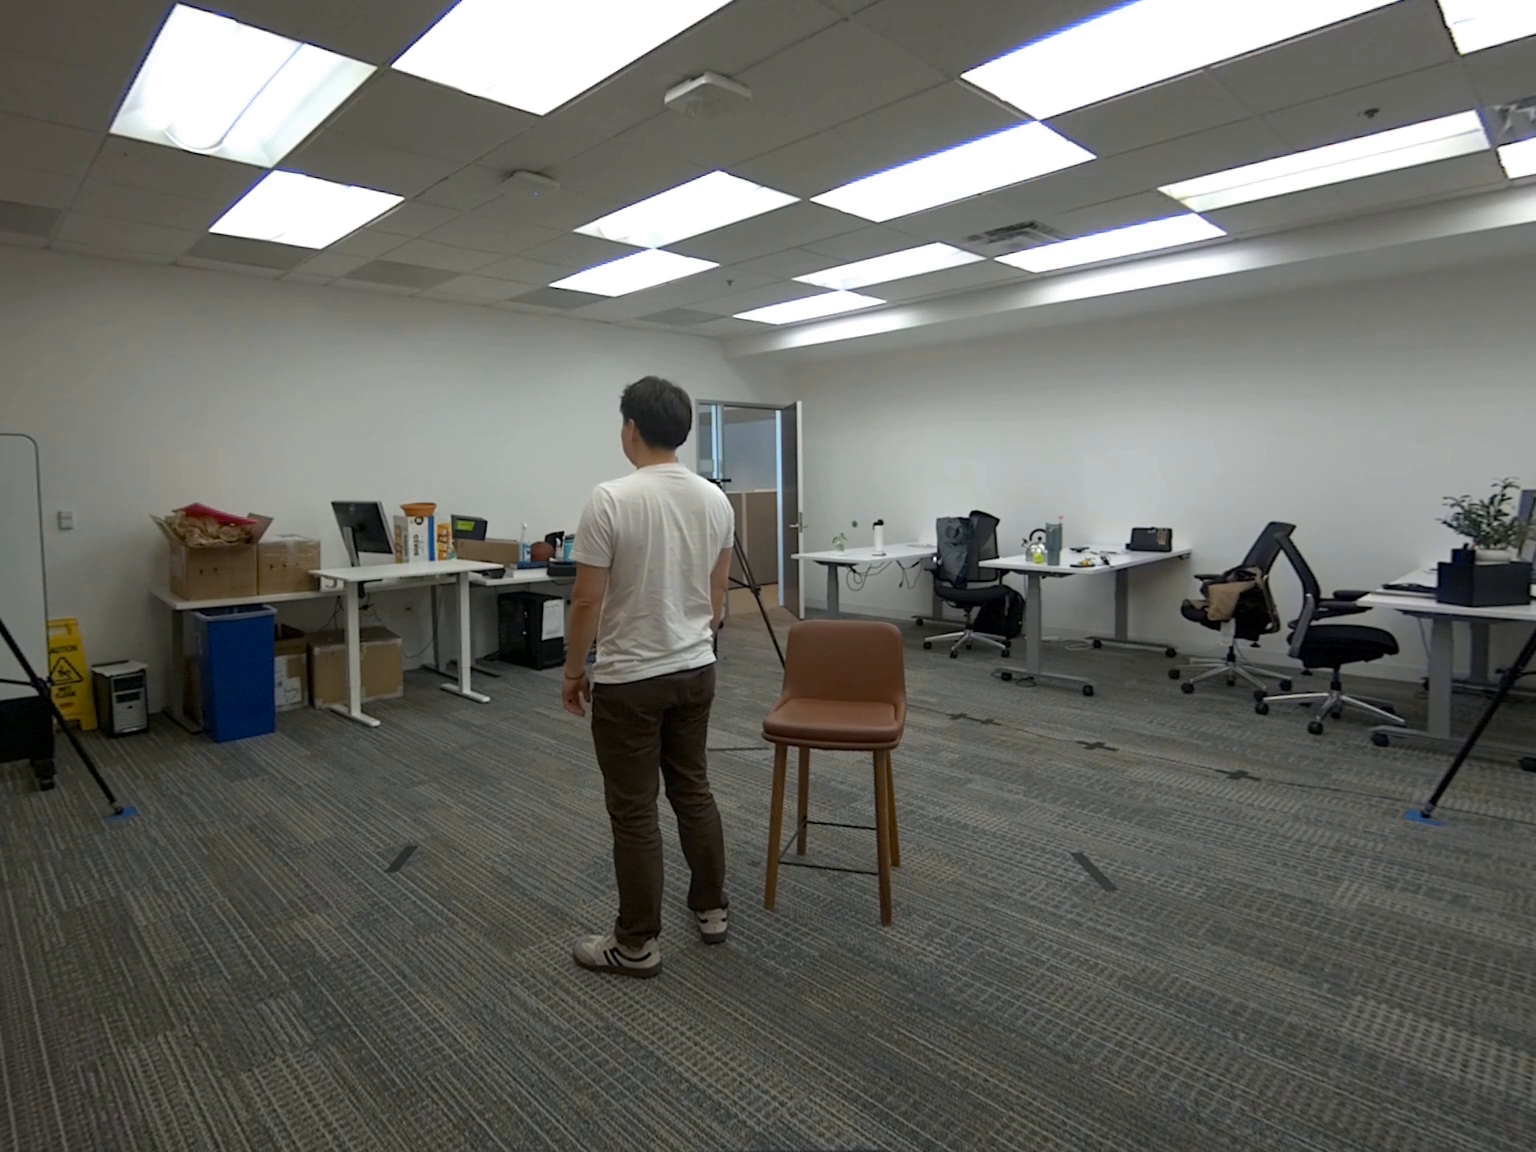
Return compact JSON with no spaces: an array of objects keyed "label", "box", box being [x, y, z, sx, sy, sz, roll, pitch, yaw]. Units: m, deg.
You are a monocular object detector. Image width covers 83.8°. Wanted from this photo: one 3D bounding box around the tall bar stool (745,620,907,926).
[{"label":"tall bar stool","box":[0.239,0.630,2.907,0.465,0.887,0.461,1,3,18]}]
